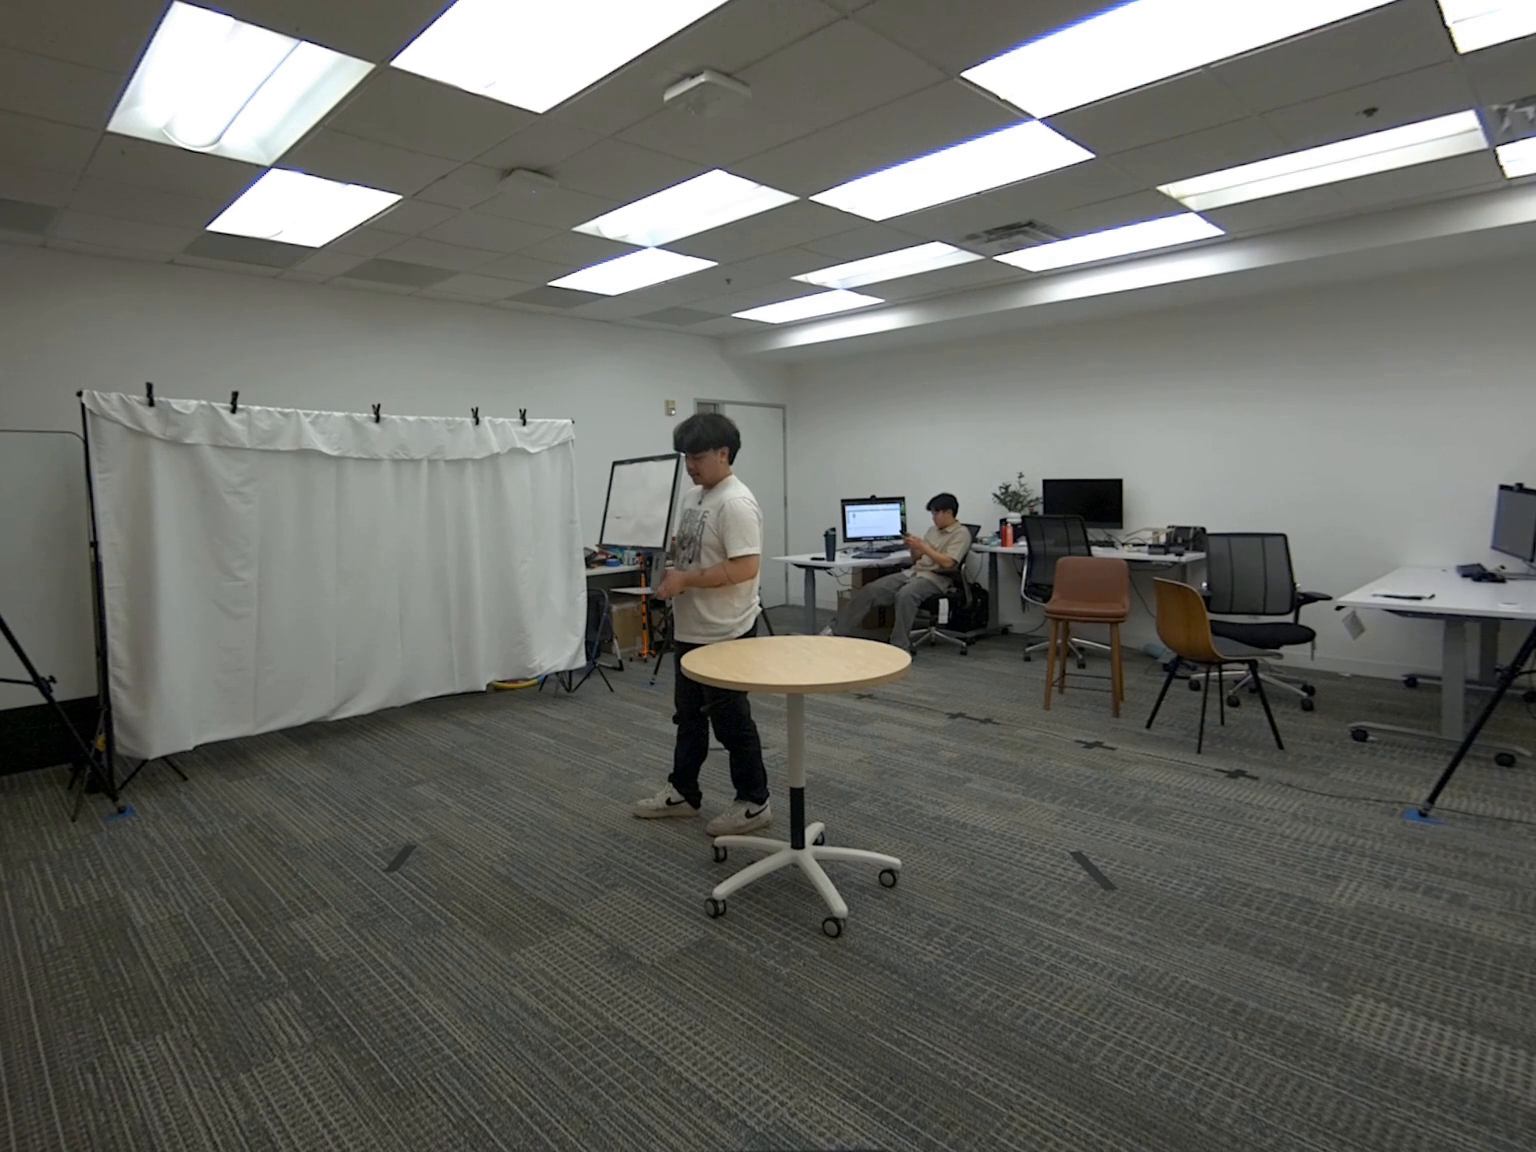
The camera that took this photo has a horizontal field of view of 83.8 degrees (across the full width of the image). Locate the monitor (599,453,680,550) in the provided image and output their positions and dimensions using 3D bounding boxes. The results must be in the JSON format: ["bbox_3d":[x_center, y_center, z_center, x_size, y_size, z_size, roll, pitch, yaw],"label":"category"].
[{"bbox_3d":[-0.447,-0.190,3.337,0.204,0.555,0.581,5,-2,-36],"label":"monitor"}]
